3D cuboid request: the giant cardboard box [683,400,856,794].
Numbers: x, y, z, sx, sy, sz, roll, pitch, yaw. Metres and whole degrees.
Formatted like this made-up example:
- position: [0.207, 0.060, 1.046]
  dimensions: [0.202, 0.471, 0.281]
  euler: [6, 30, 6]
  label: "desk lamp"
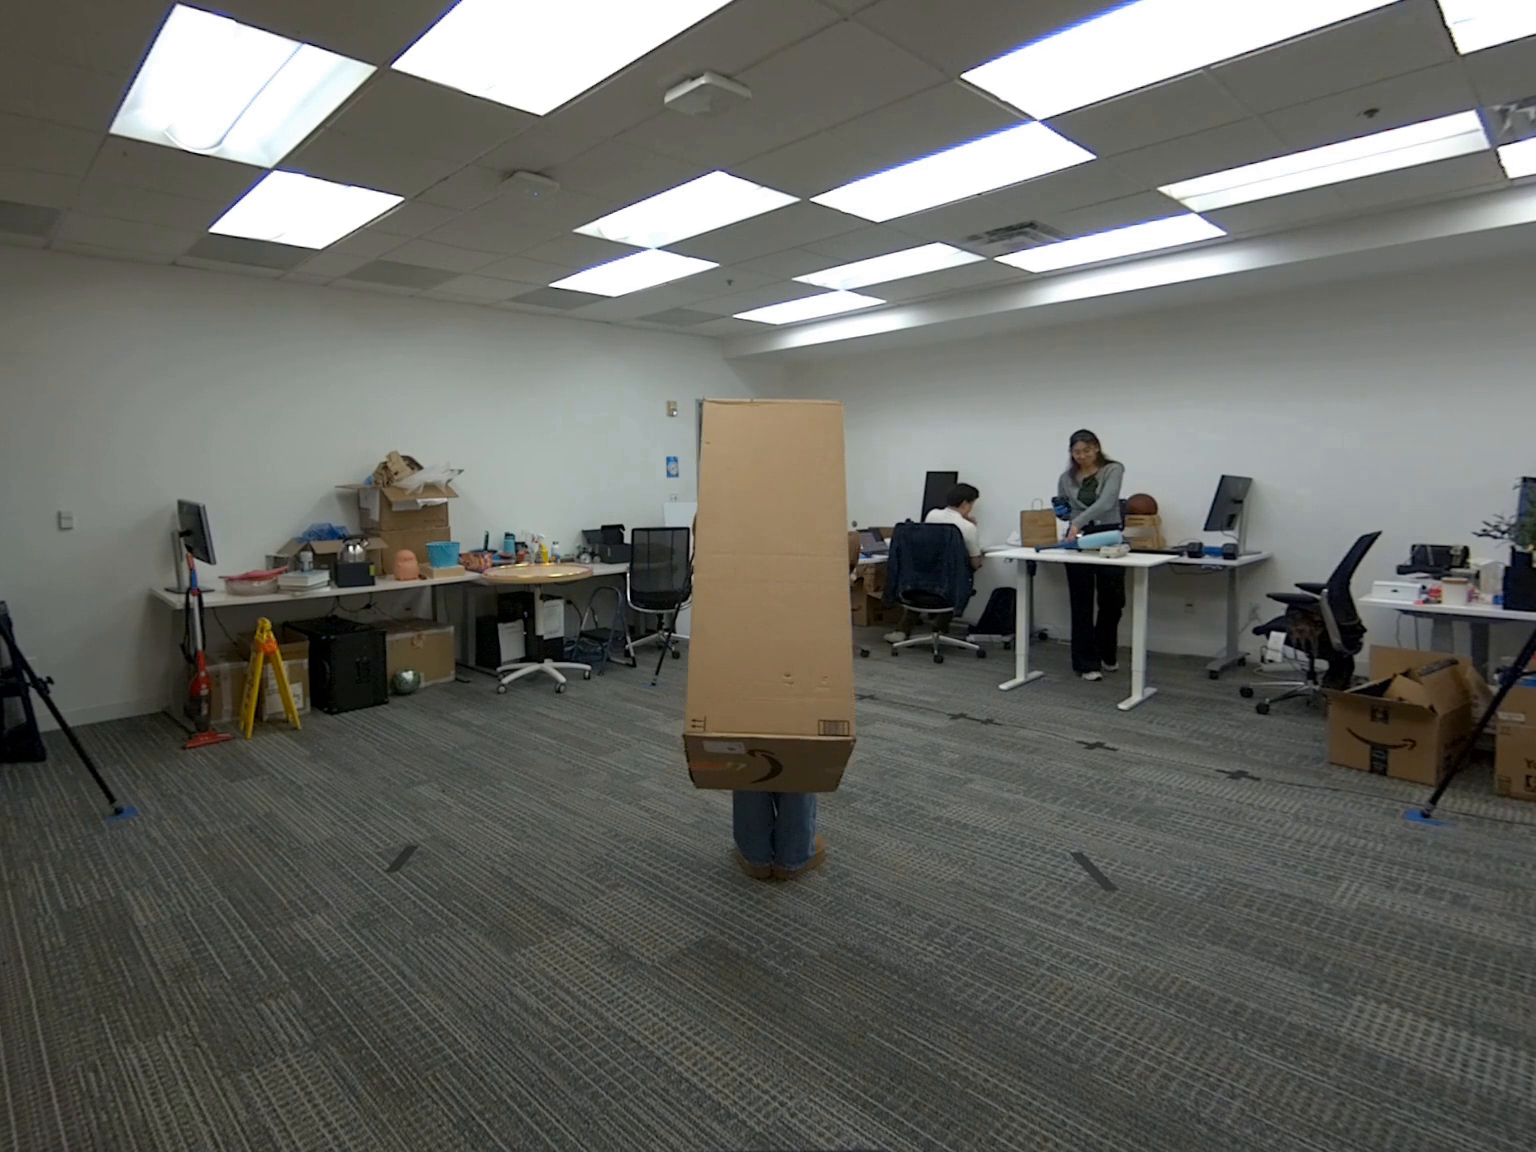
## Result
- position: [0.002, 0.064, 2.555]
  dimensions: [0.447, 1.049, 0.571]
  euler: [2, -28, 0]
  label: "giant cardboard box"
